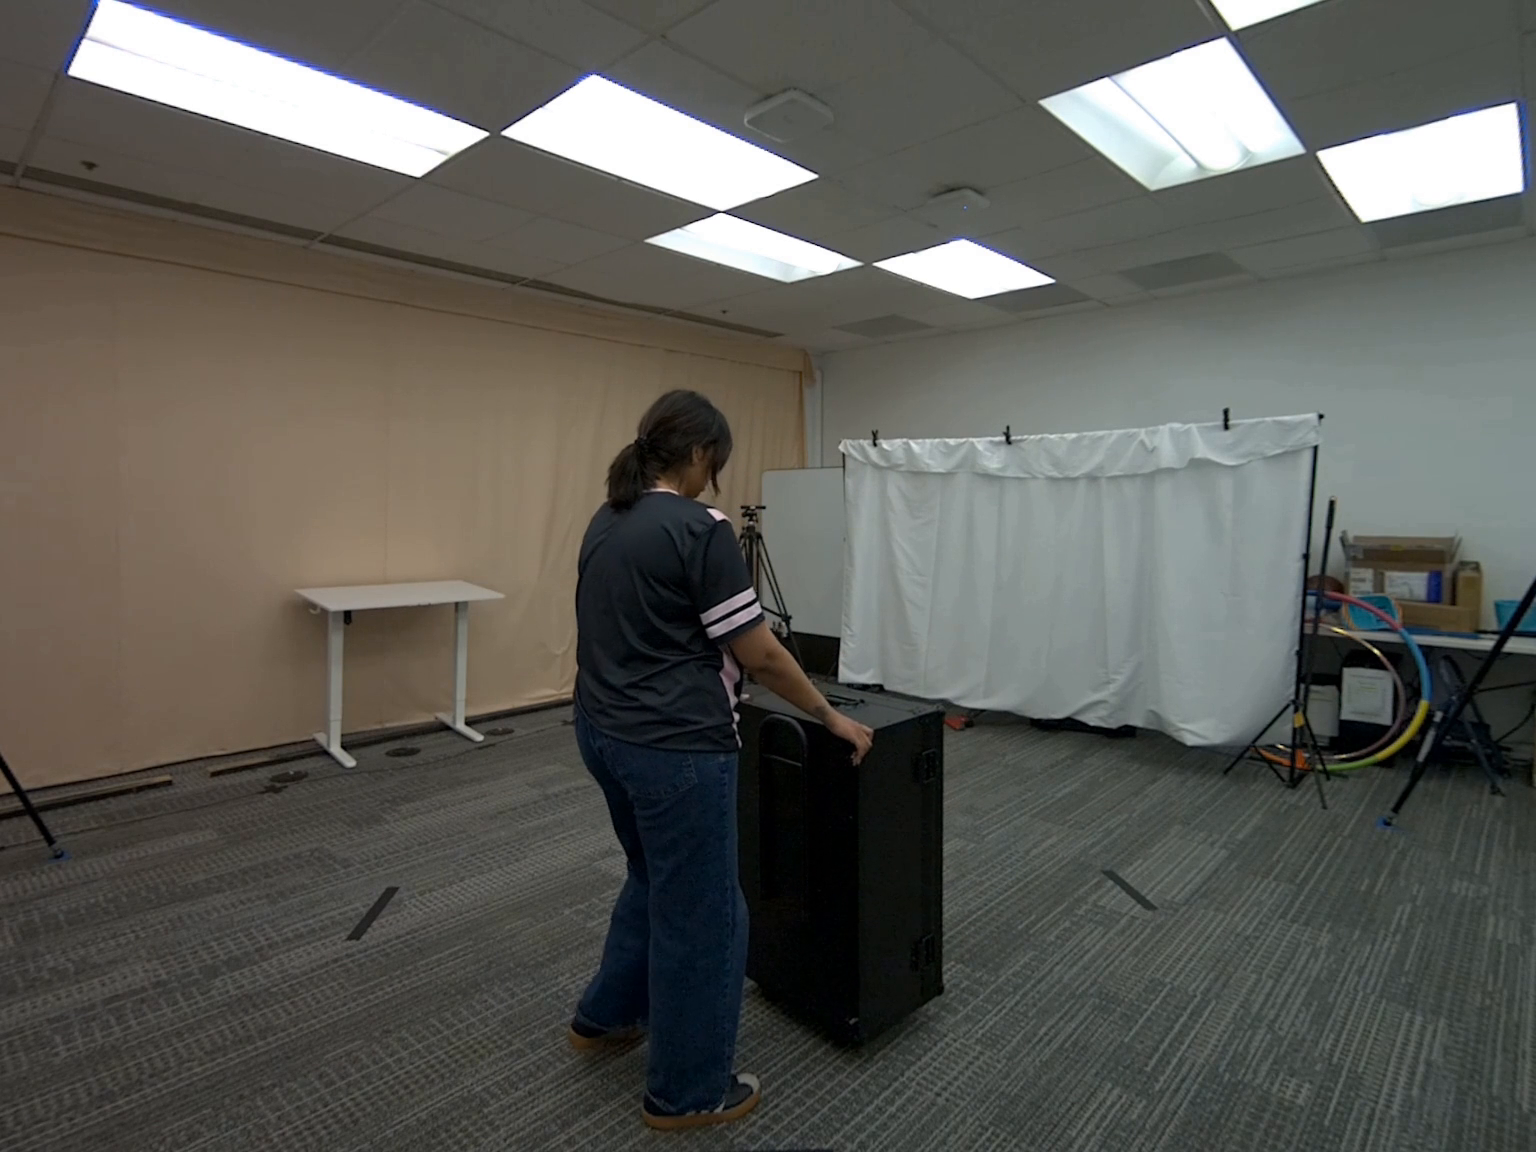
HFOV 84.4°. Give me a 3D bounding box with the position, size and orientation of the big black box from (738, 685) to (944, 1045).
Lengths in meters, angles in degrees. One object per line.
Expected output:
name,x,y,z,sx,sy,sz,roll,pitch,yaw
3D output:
big black box,0.194,0.778,2.321,0.373,0.866,0.541,-4,5,-42
